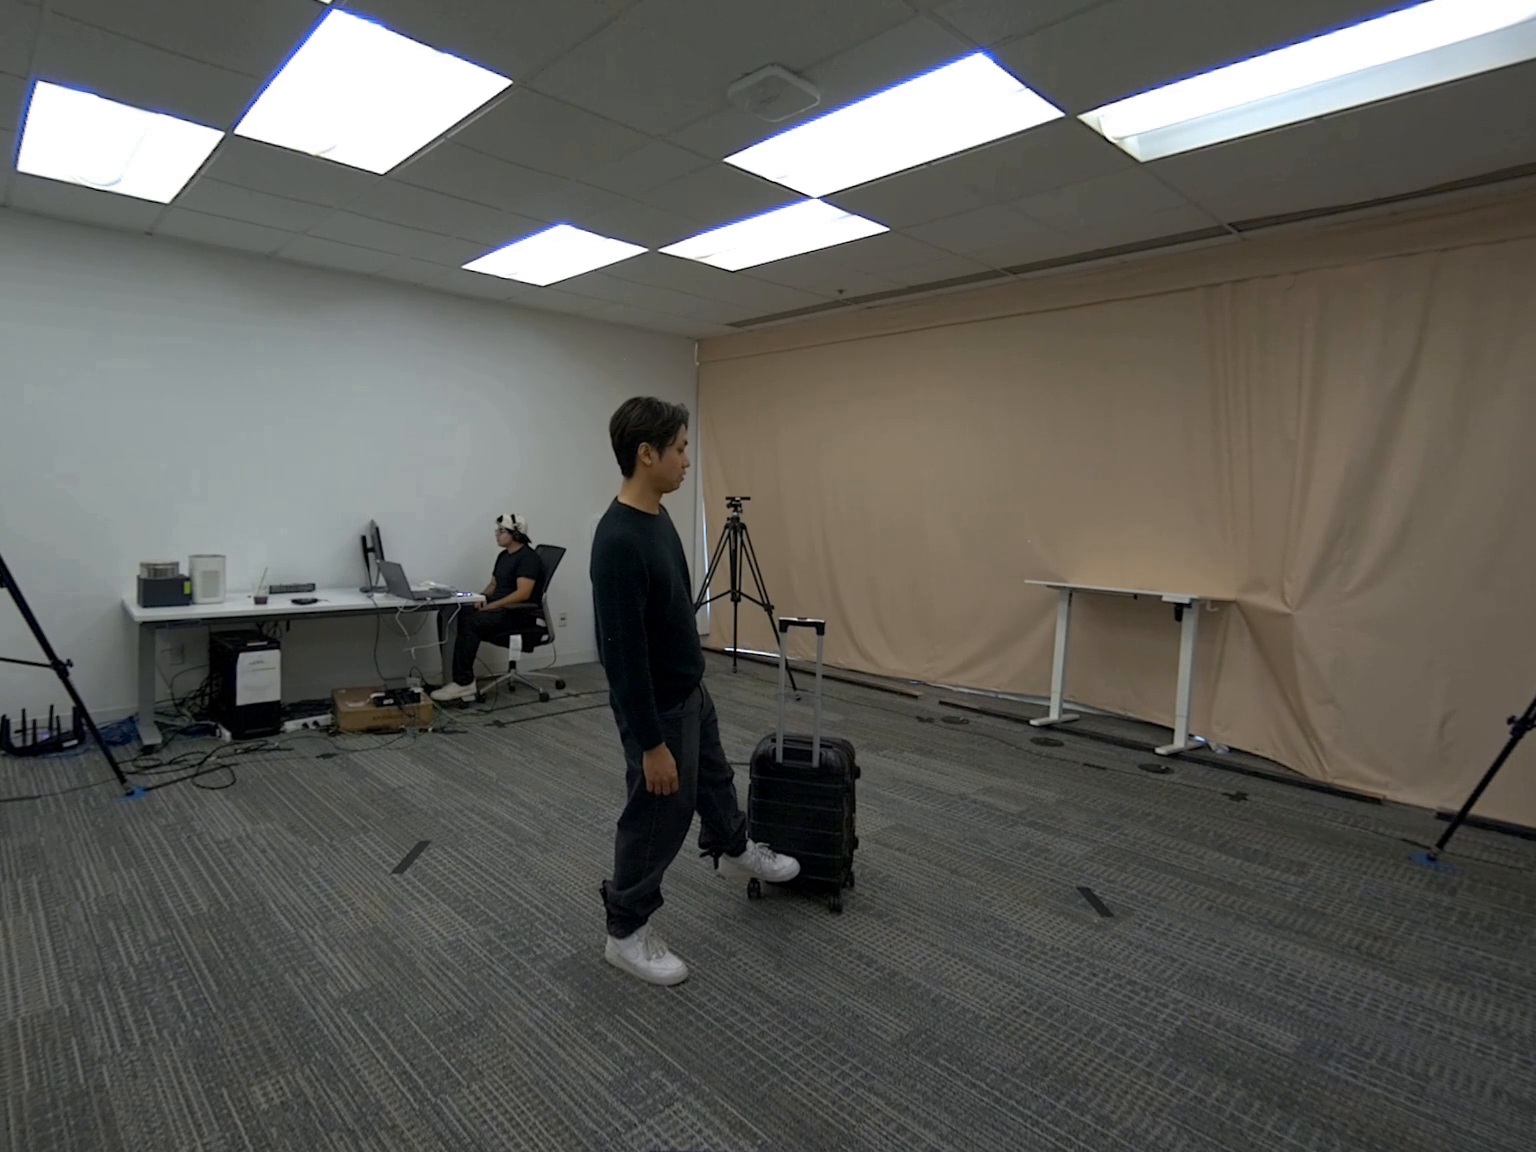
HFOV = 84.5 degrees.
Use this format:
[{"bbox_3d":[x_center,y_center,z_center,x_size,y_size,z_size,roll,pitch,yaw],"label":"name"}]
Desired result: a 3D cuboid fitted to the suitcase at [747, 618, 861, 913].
[{"bbox_3d":[0.126,0.643,3.004,0.389,0.978,0.253,2,1,17],"label":"suitcase"}]
